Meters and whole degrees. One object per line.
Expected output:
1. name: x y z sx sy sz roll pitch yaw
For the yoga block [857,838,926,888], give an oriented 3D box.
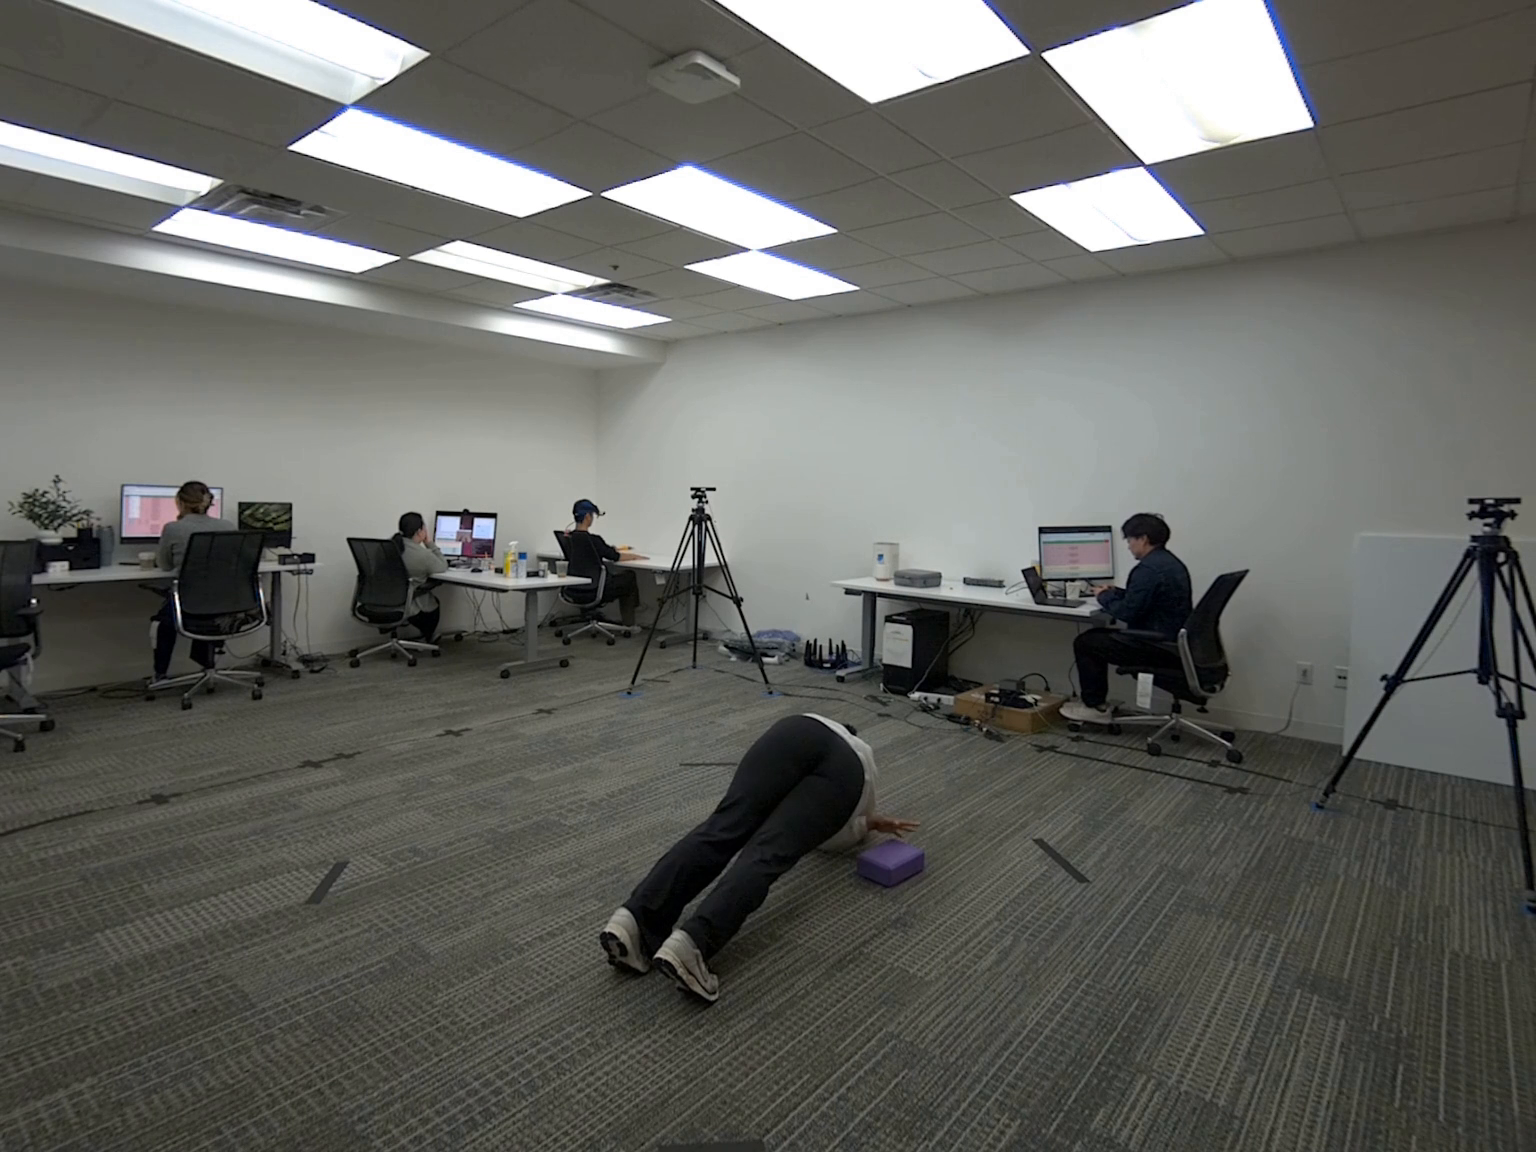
1. yoga block: 0.437 1.040 3.107 0.154 0.076 0.222 7 6 43
